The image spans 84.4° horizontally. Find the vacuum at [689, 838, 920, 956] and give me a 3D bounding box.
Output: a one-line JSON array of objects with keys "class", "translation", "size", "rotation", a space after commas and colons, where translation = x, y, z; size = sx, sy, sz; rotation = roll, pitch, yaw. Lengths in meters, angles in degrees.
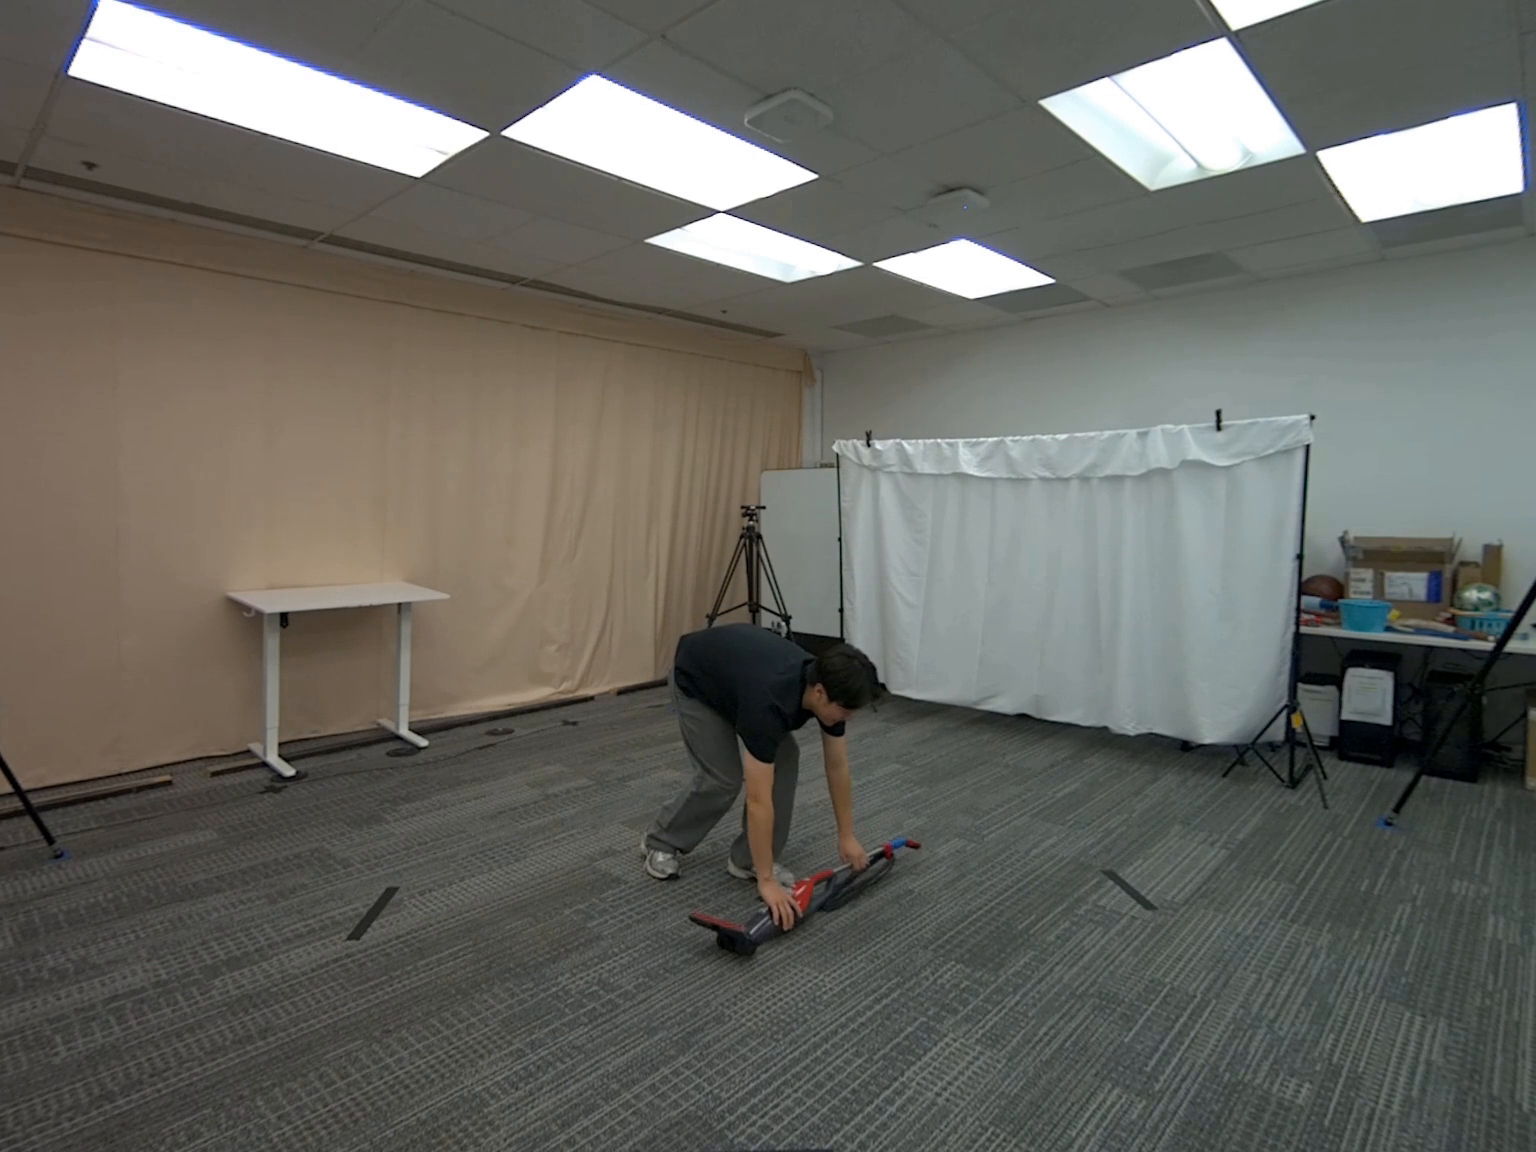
[{"class": "vacuum", "translation": [0.233, 1.084, 2.937], "size": [1.017, 0.144, 0.260], "rotation": [-3, -3, -44]}]
